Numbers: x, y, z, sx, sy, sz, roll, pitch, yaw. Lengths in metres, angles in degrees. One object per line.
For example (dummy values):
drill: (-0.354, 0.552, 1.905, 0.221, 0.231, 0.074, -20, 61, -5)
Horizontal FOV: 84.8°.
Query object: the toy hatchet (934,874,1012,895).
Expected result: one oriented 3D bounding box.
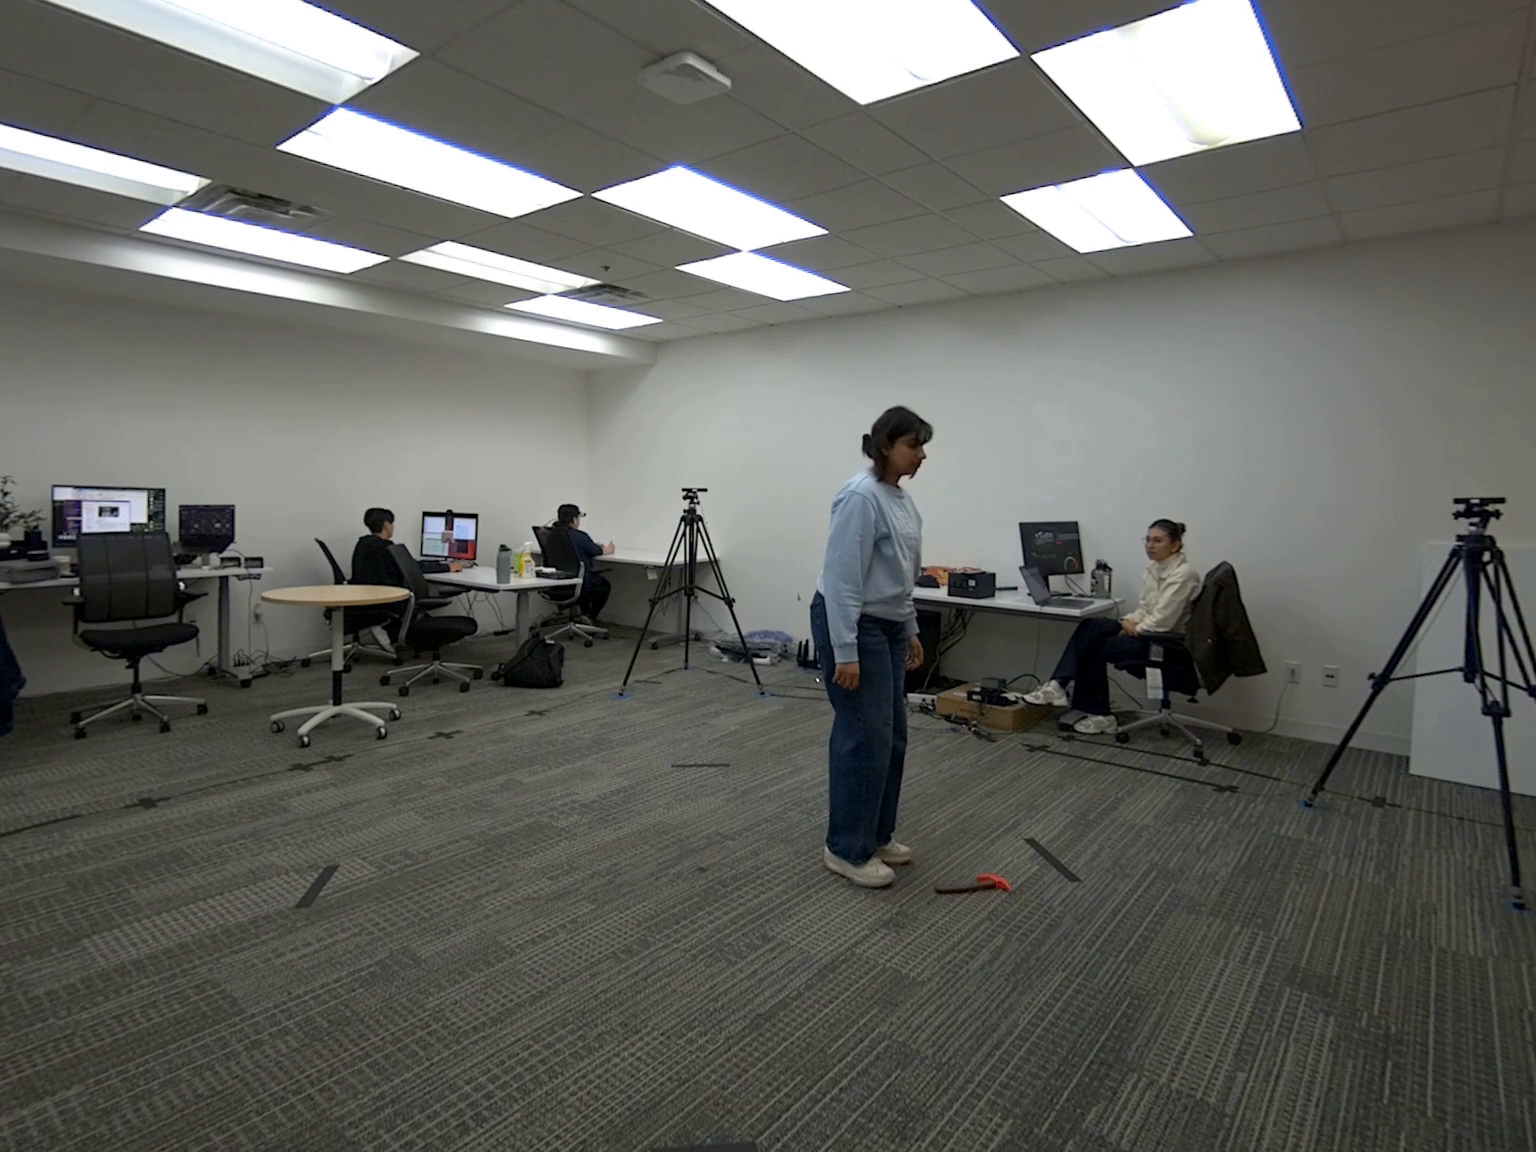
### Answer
toy hatchet: (0.706, 1.084, 3.032, 0.269, 0.029, 0.132, 0, 6, -2)
